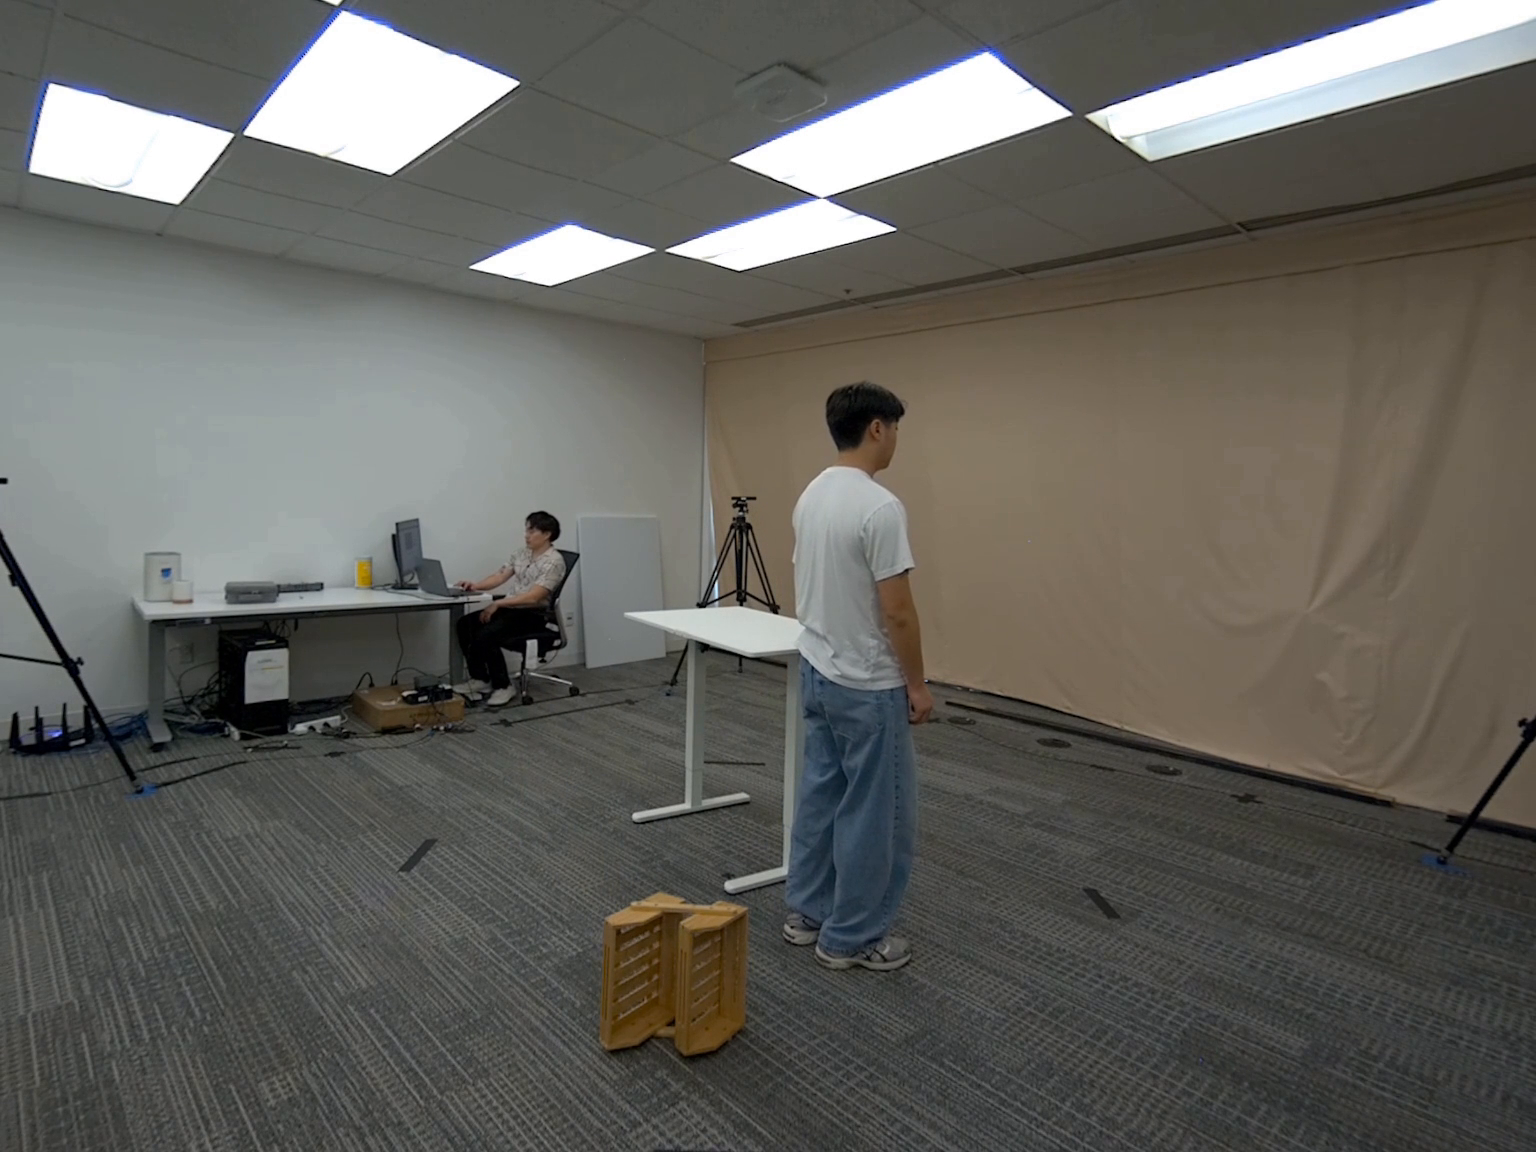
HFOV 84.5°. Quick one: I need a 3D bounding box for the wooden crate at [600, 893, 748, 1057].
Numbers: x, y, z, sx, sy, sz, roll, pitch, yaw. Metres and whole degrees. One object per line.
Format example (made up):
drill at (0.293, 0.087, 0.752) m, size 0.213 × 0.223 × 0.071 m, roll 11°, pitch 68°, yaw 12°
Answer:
wooden crate at (-0.239, 1.029, 2.154) m, size 0.279 × 0.325 × 0.295 m, roll 0°, pitch -2°, yaw 30°
